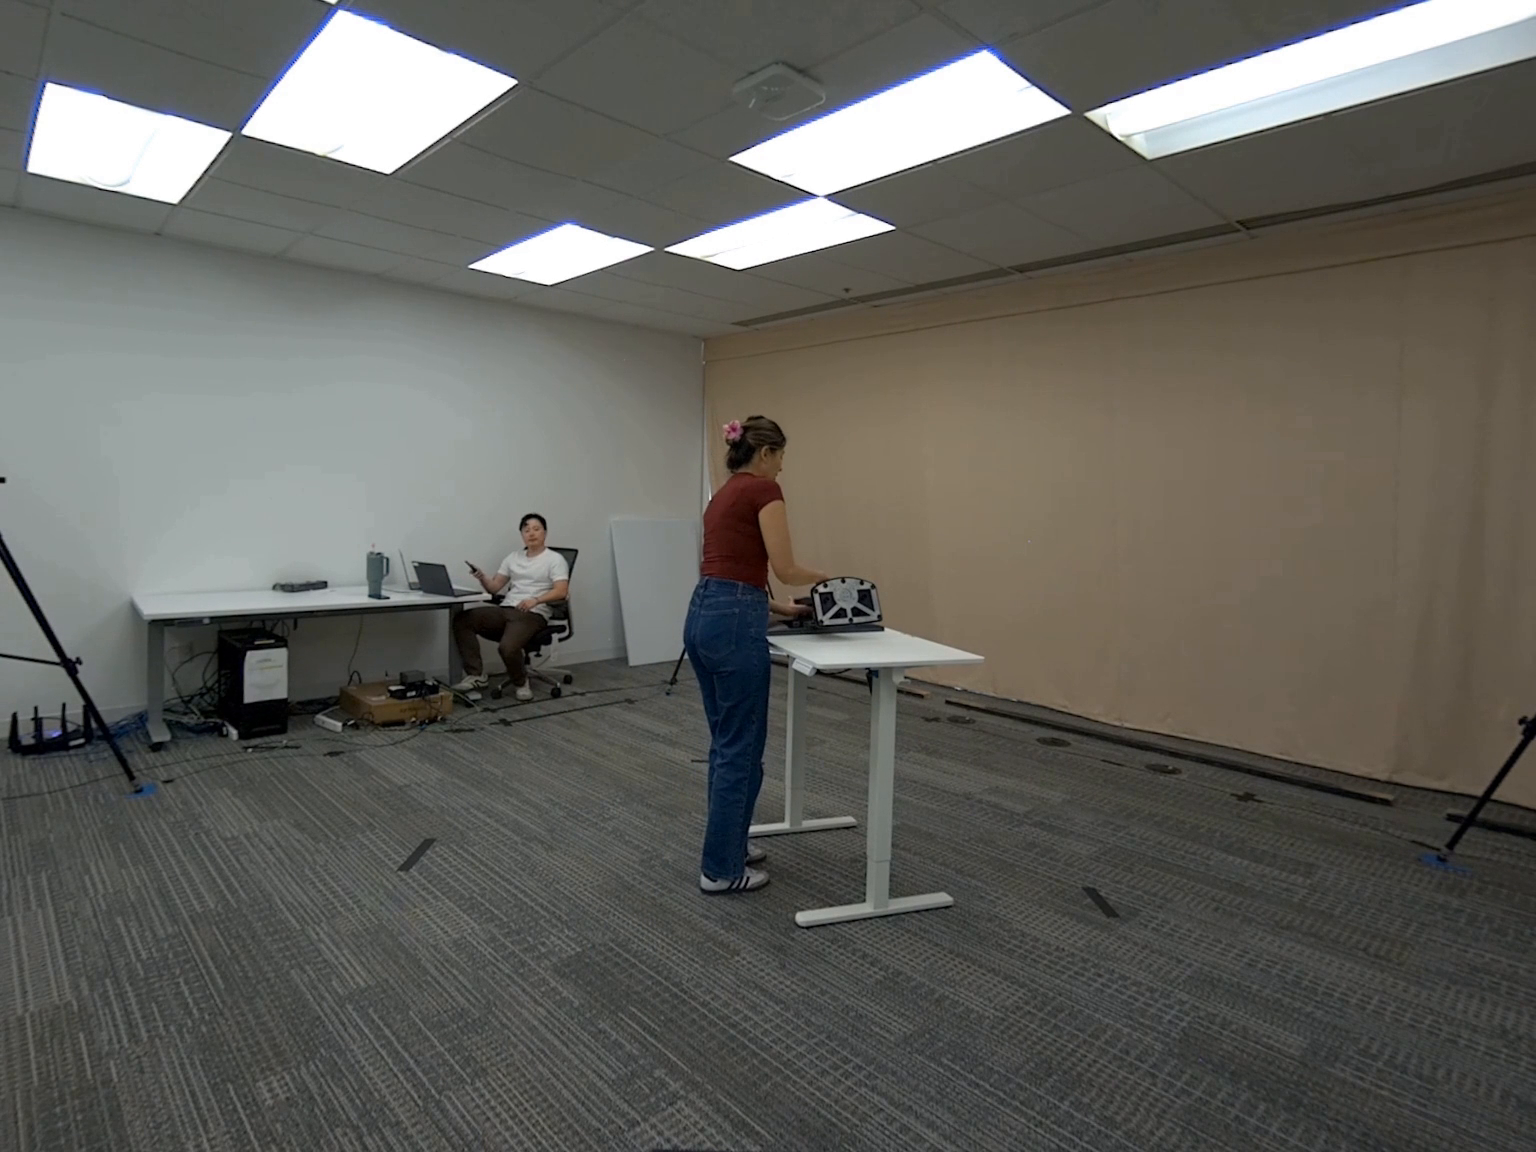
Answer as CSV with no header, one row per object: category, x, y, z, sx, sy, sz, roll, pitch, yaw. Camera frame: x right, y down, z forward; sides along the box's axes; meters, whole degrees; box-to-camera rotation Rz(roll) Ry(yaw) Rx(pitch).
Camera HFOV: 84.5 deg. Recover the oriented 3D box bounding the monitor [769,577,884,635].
monitor,0.176,0.149,3.298,0.529,0.189,0.527,0,-12,-24
